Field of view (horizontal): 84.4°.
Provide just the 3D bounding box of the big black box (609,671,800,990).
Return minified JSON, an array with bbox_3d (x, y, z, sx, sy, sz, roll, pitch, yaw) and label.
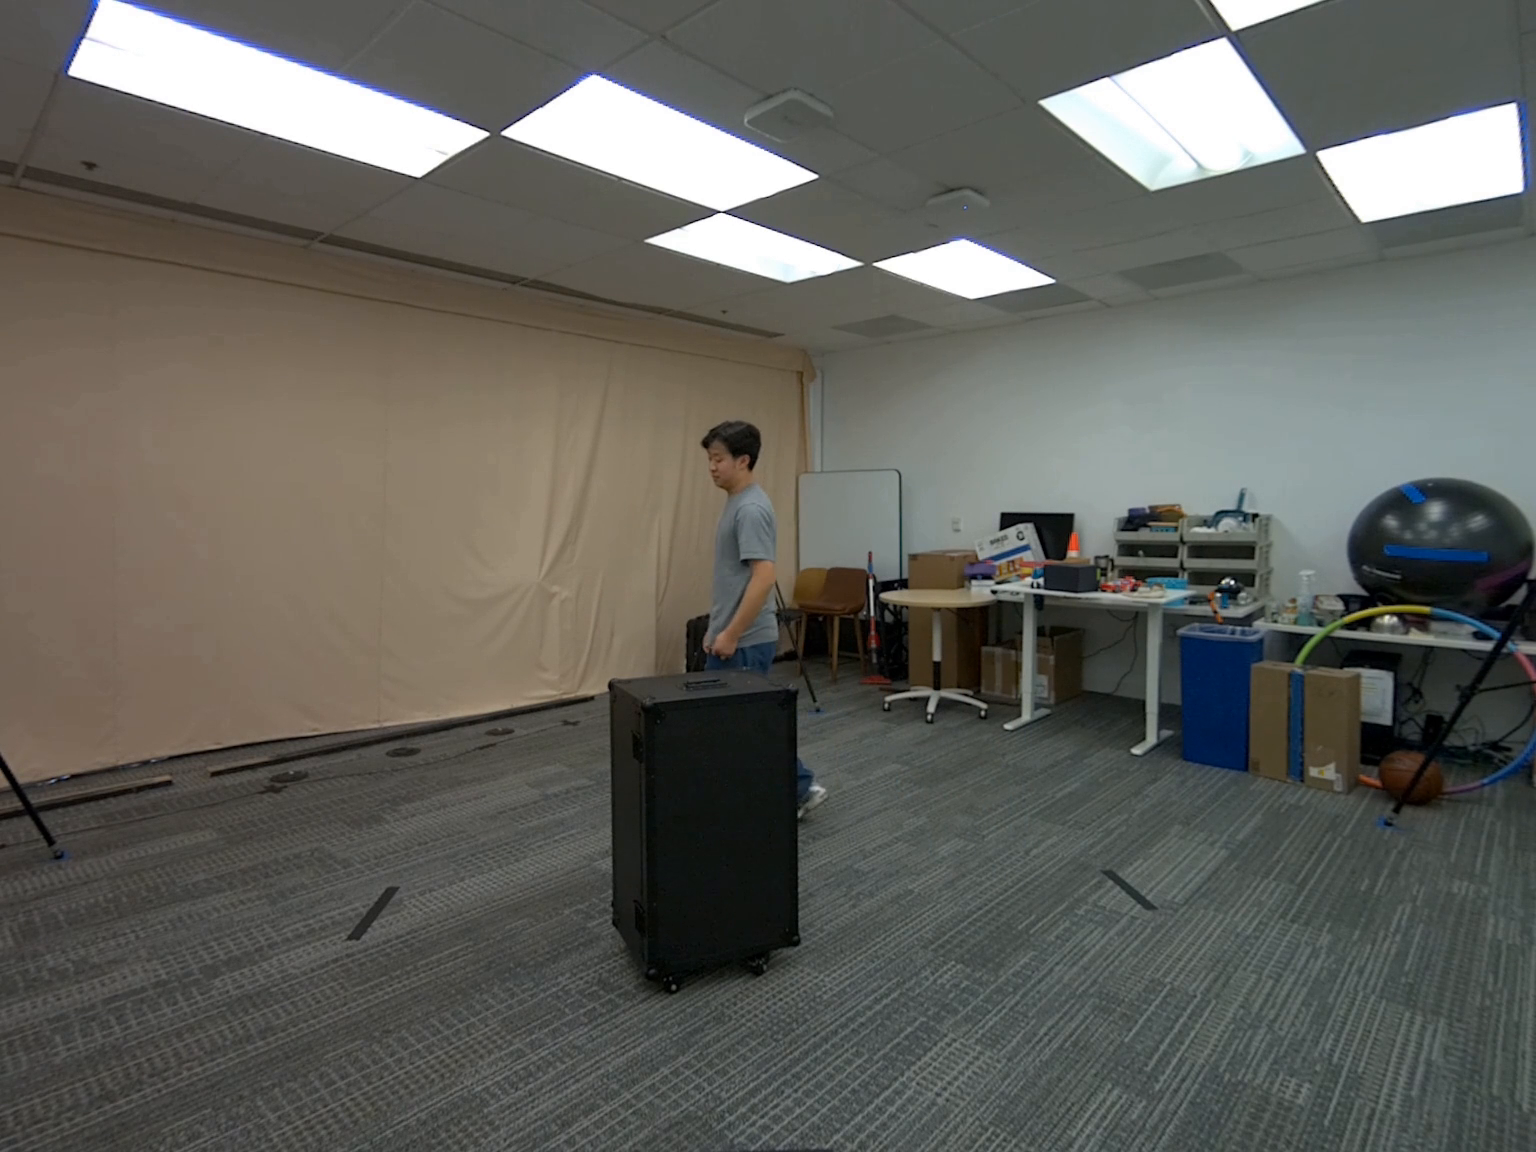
[{"bbox_3d":[-0.208,0.749,2.590,0.509,0.860,0.406,-2,2,-25],"label":"big black box"}]
